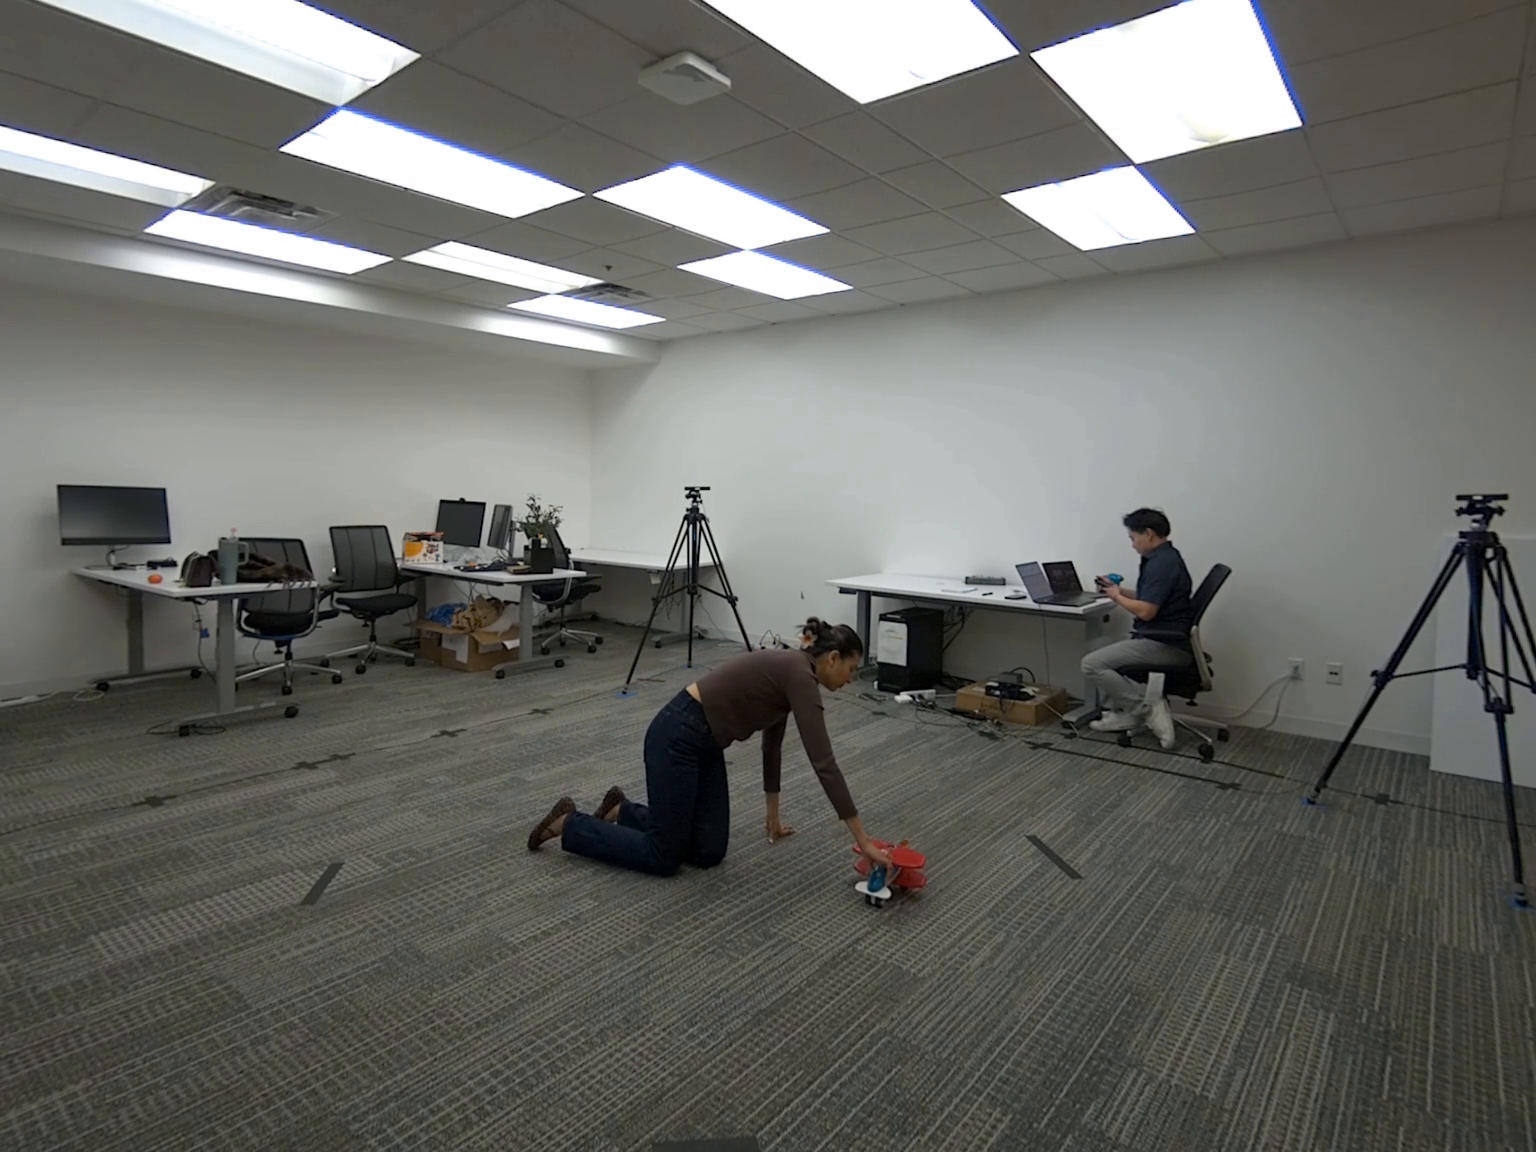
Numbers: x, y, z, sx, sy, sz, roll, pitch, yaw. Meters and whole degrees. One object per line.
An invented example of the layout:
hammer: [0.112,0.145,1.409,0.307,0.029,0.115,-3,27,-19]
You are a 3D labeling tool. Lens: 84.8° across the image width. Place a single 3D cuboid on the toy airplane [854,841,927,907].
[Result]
toy airplane: [0.417,1.023,2.921,0.252,0.156,0.258,1,4,4]
